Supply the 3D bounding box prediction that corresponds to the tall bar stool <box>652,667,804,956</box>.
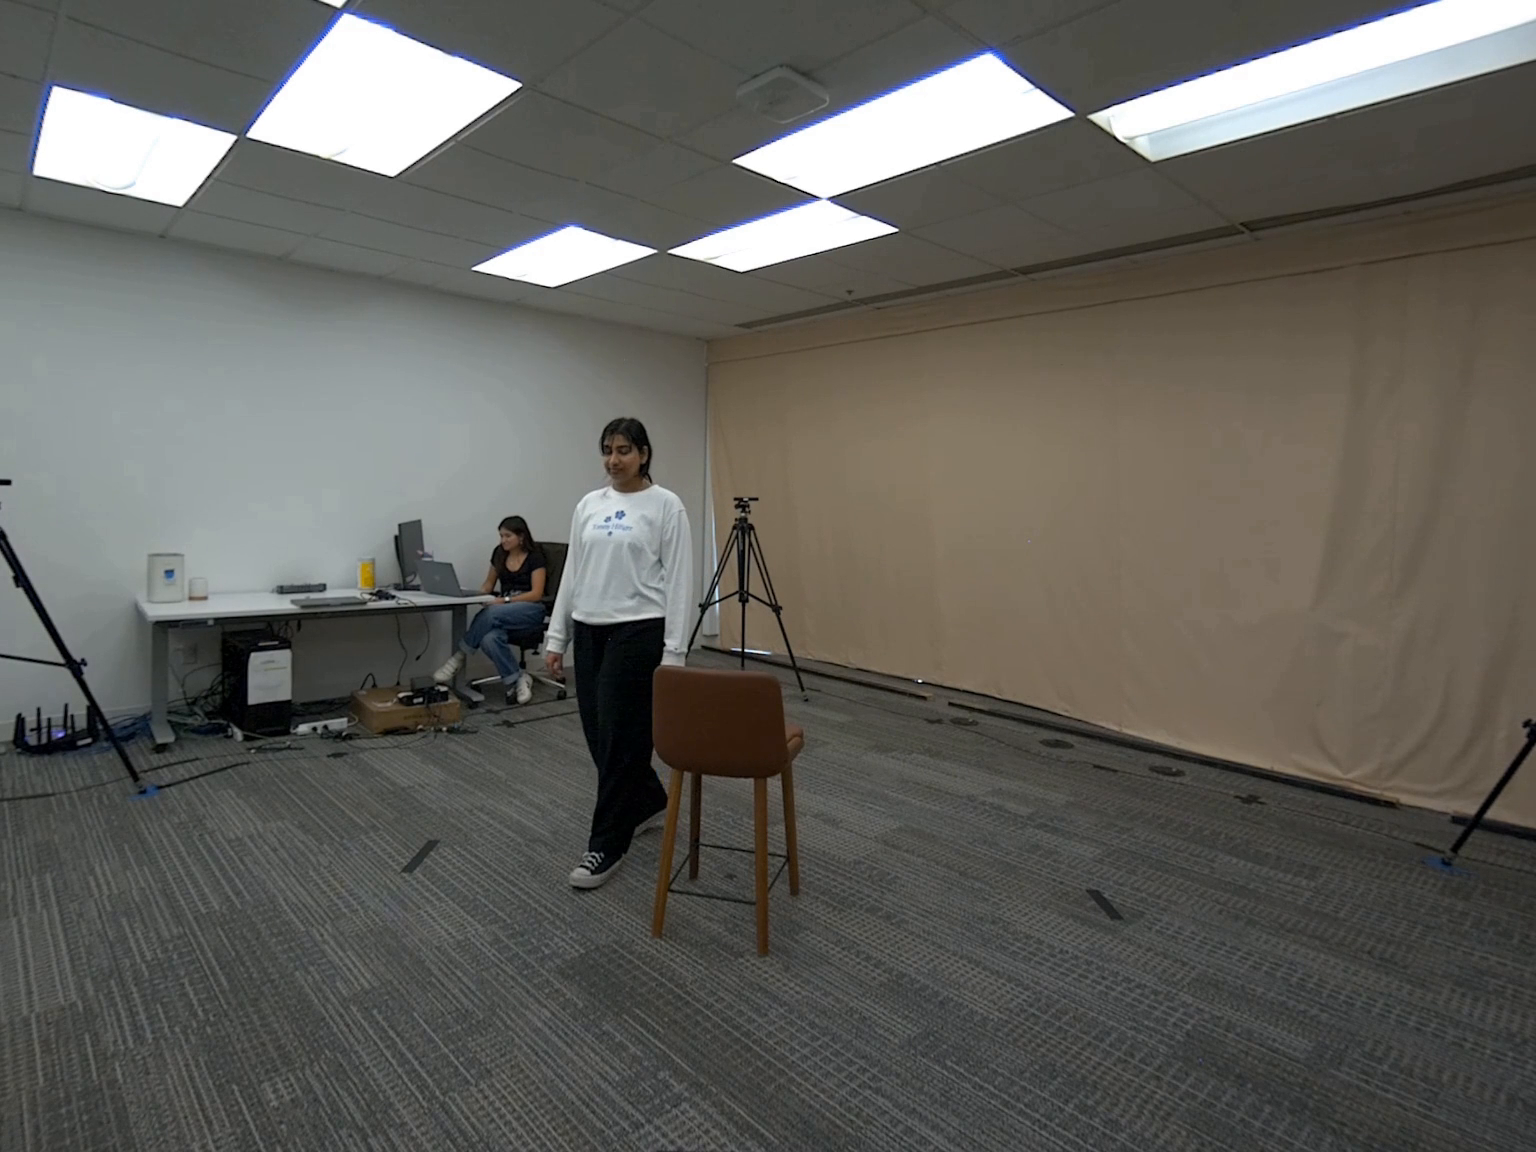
[{"bbox_3d":[-0.132,0.704,2.790,0.462,0.886,0.463,2,5,15],"label":"tall bar stool"}]
